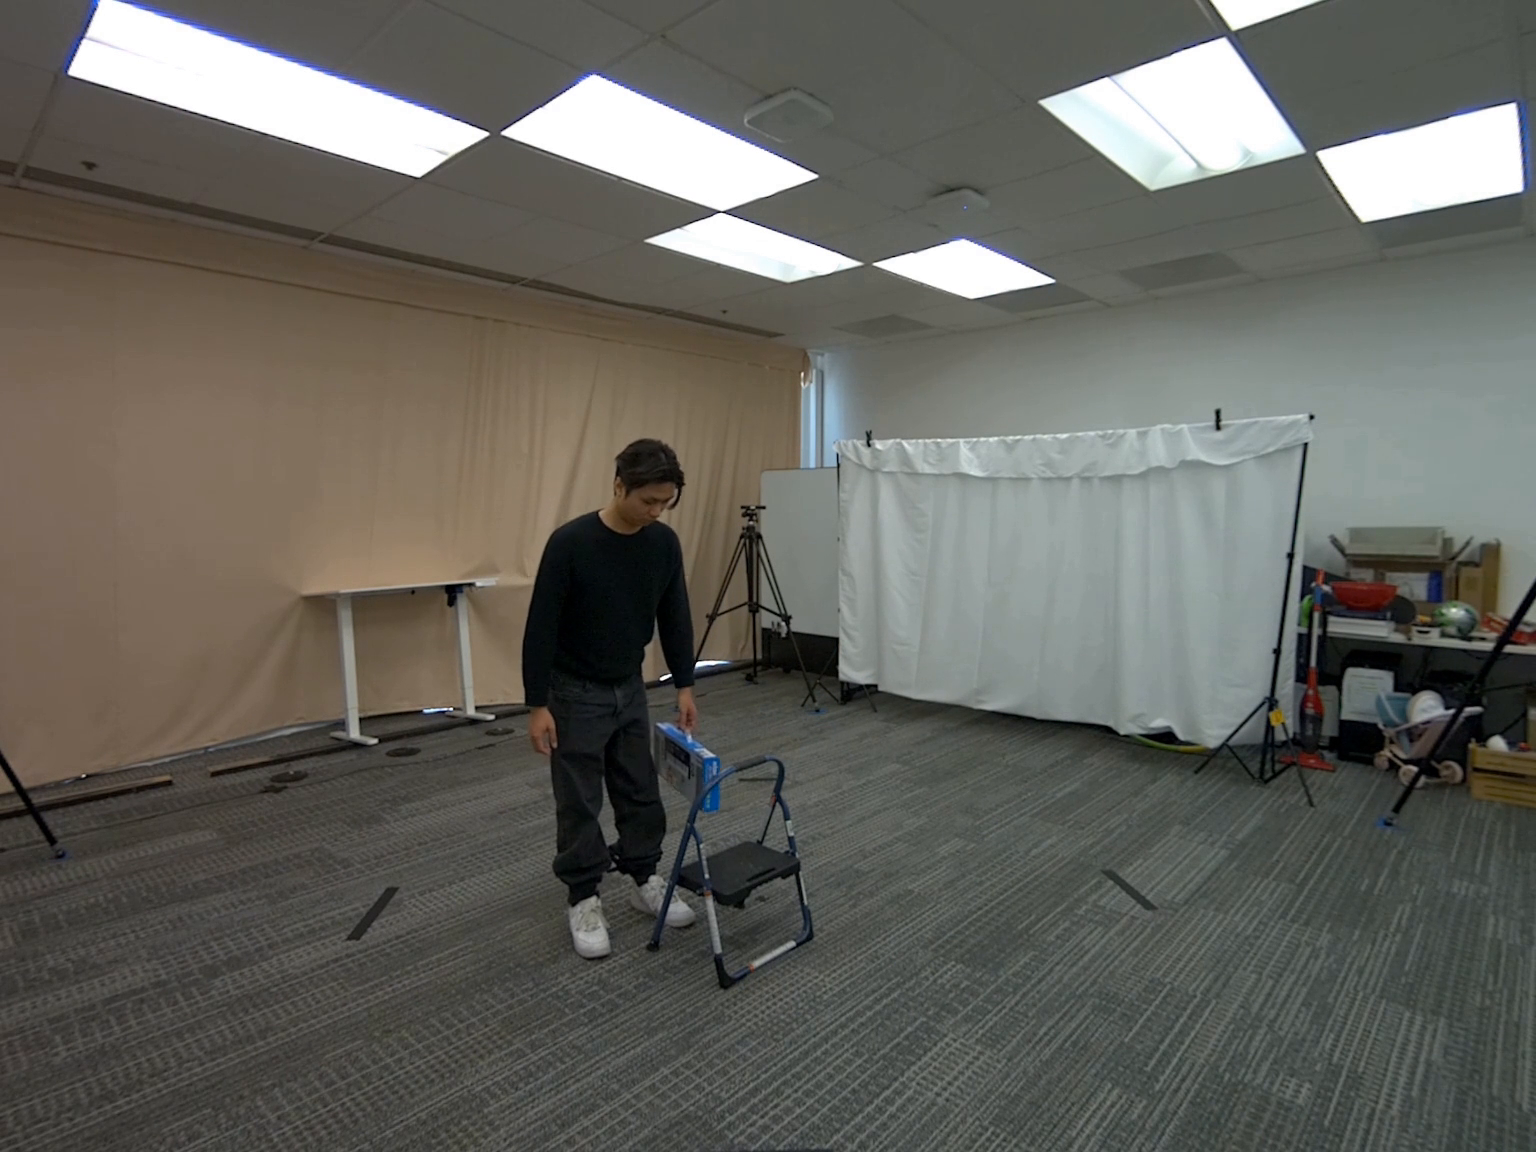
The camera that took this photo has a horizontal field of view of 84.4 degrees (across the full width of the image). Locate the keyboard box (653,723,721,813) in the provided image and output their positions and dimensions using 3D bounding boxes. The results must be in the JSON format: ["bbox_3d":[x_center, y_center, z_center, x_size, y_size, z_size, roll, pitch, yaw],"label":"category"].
[{"bbox_3d":[-0.276,0.637,2.828,0.057,0.175,0.449,0,5,-28],"label":"keyboard box"}]
